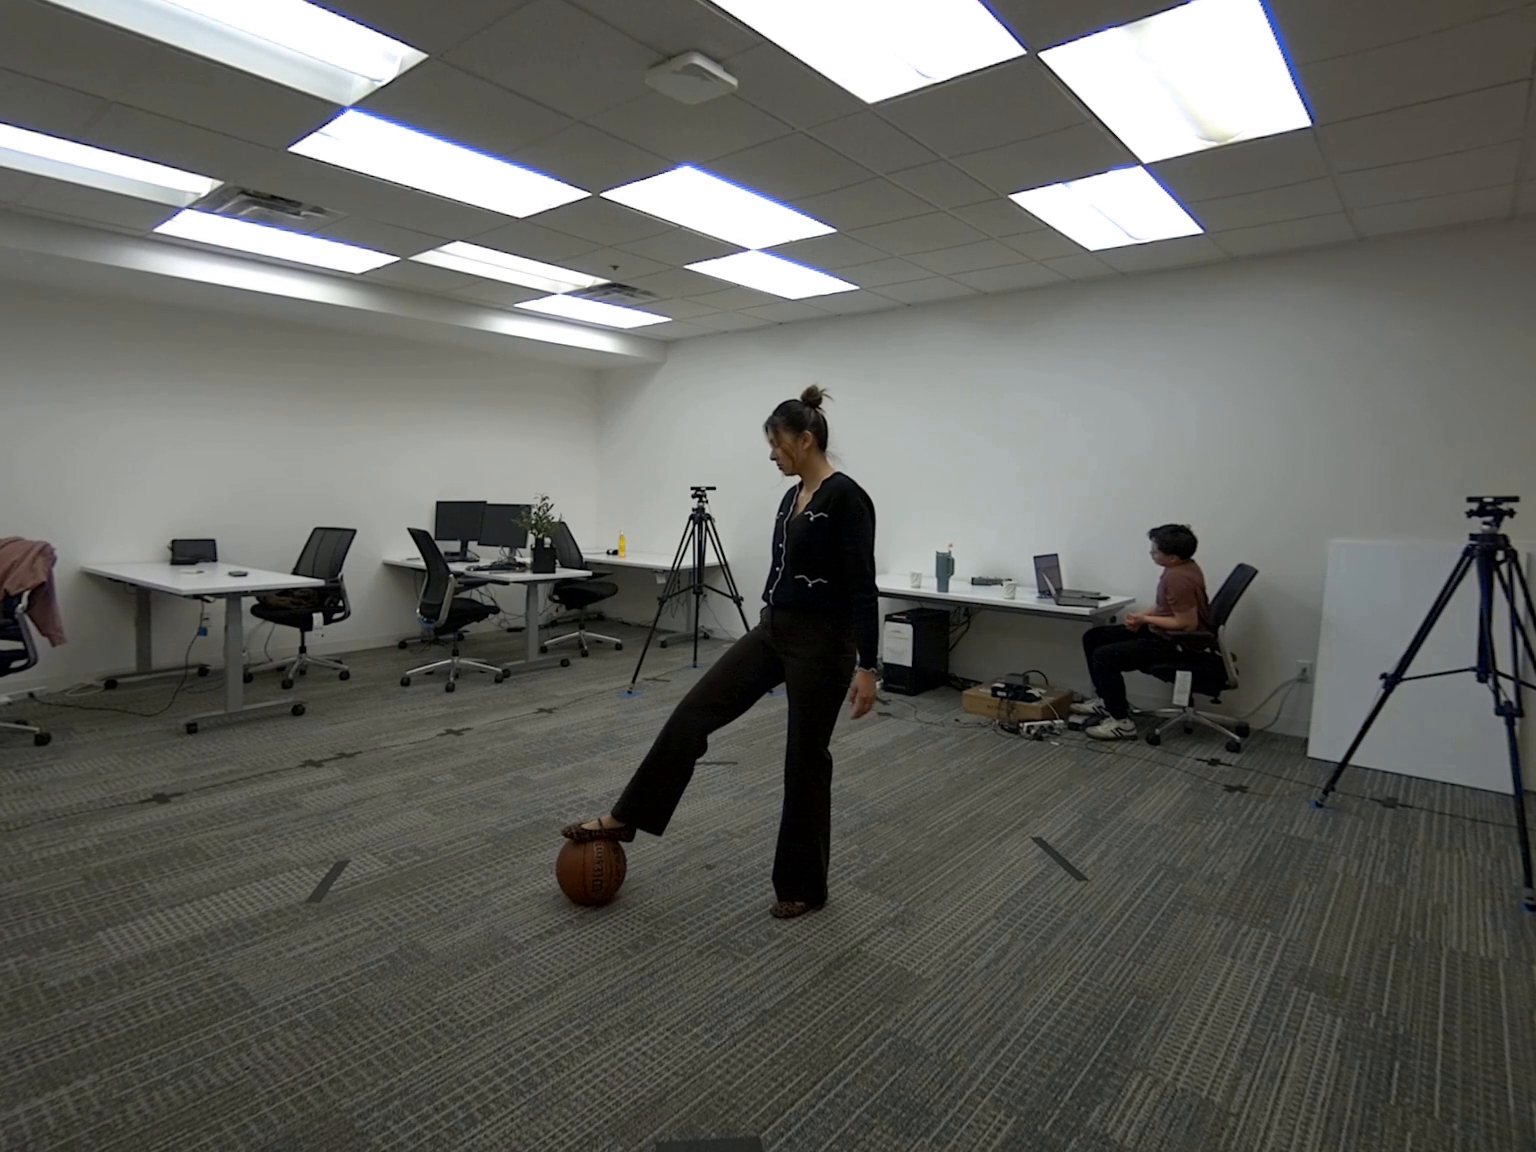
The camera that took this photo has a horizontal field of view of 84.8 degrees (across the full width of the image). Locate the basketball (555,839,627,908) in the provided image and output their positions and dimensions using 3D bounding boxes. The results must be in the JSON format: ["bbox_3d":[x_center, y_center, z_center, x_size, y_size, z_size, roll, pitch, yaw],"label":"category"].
[{"bbox_3d":[-0.594,0.977,2.861,0.235,0.235,0.237,1,4,-2],"label":"basketball"}]
